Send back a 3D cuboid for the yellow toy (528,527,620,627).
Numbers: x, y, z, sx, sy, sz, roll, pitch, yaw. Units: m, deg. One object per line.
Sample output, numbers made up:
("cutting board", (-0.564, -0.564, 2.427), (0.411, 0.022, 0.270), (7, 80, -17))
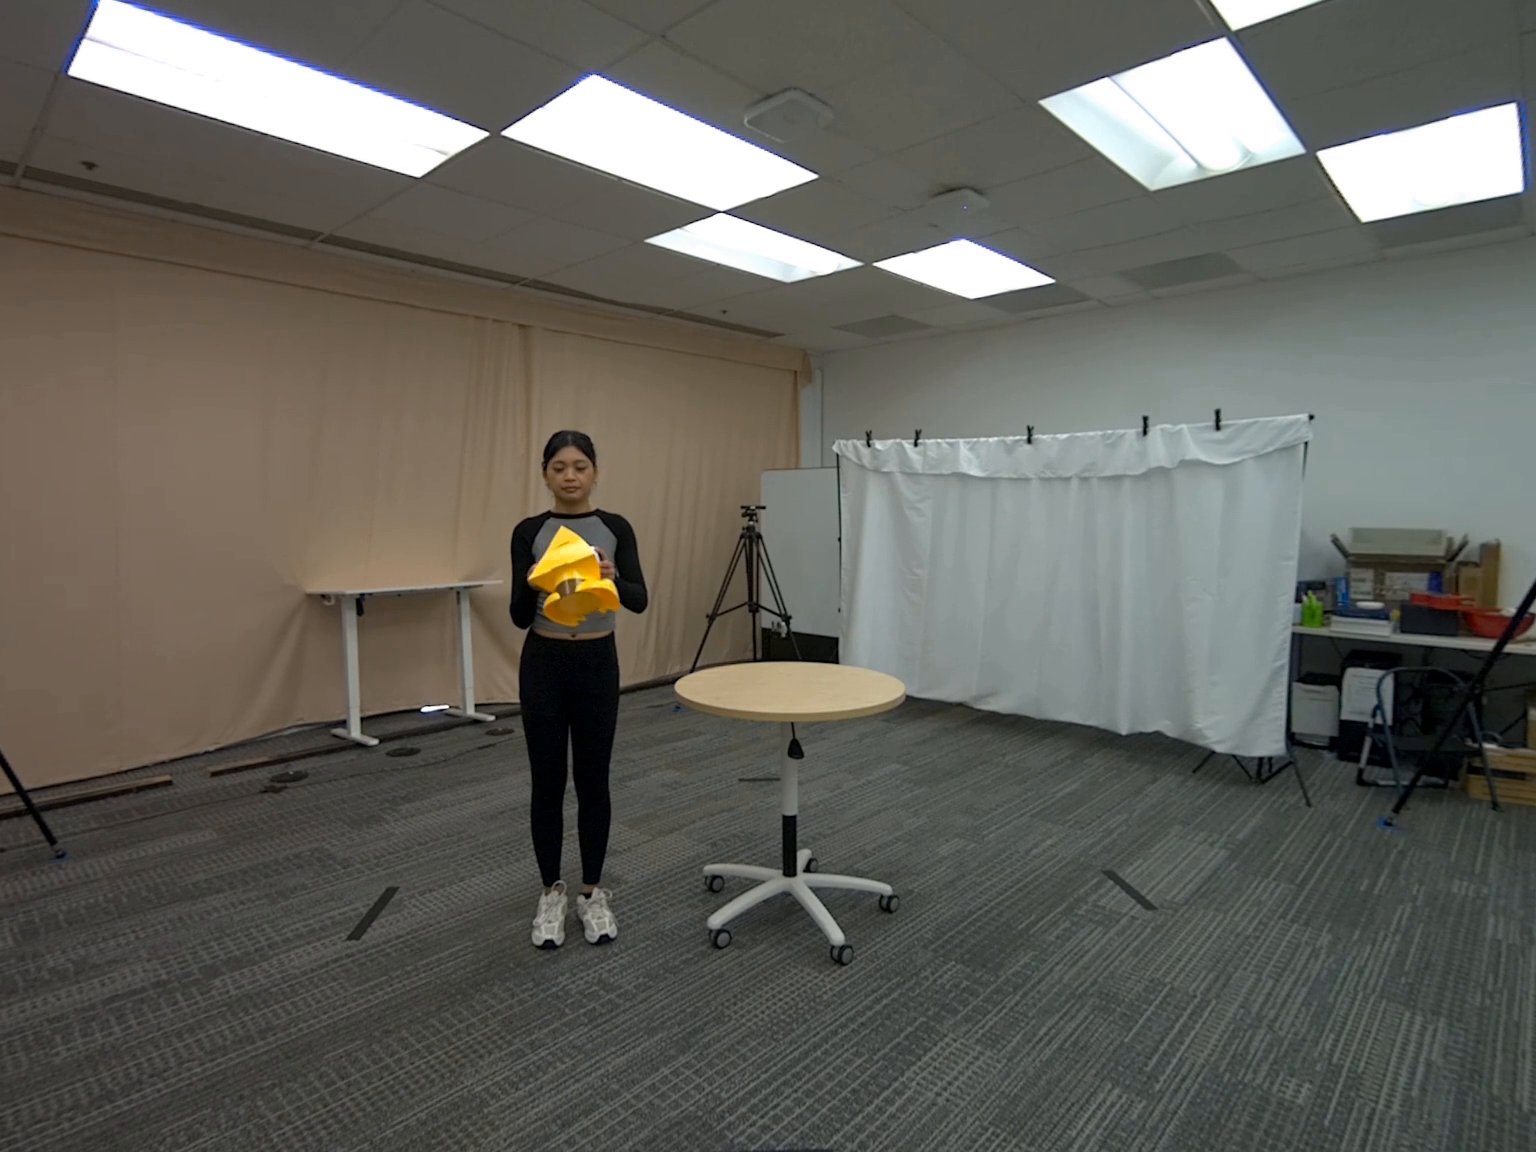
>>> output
("yellow toy", (-0.531, -0.018, 2.333), (0.206, 0.236, 0.187), (-21, -32, 11))
